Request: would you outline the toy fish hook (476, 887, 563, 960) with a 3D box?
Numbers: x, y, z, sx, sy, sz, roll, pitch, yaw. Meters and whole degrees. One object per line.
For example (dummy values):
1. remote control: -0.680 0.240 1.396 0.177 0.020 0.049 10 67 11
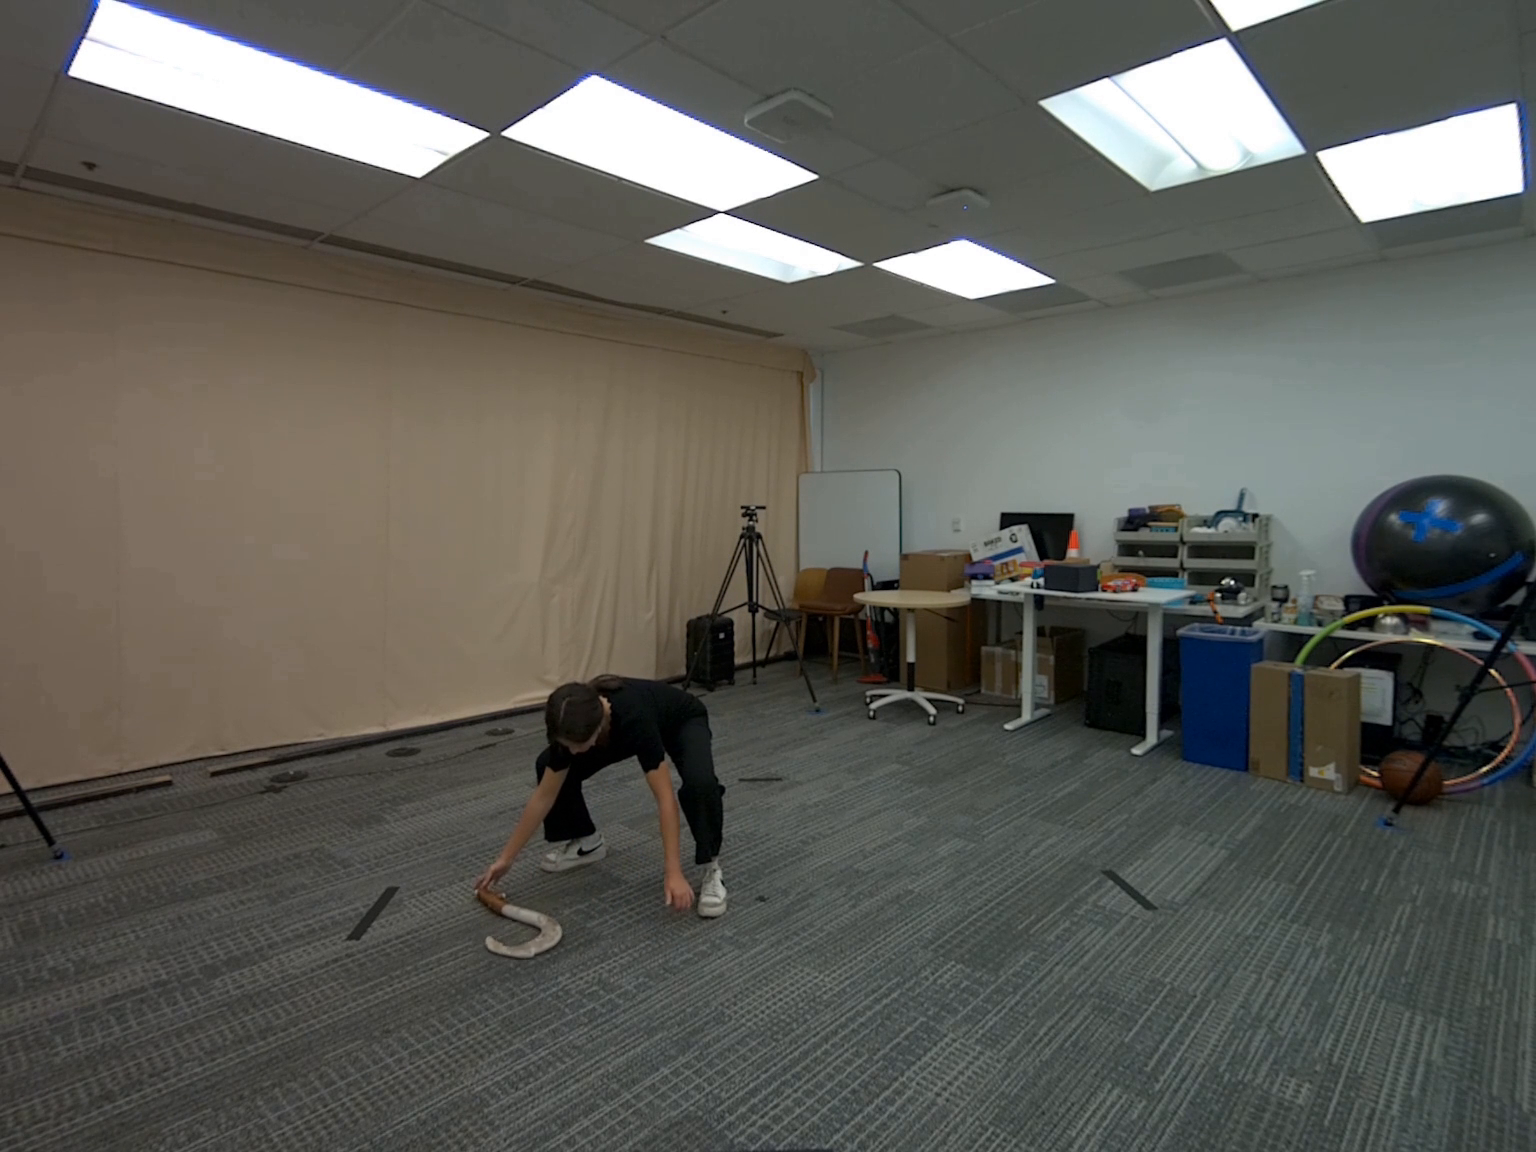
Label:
1. toy fish hook: -0.884 1.148 2.797 0.523 0.048 0.217 3 4 44
